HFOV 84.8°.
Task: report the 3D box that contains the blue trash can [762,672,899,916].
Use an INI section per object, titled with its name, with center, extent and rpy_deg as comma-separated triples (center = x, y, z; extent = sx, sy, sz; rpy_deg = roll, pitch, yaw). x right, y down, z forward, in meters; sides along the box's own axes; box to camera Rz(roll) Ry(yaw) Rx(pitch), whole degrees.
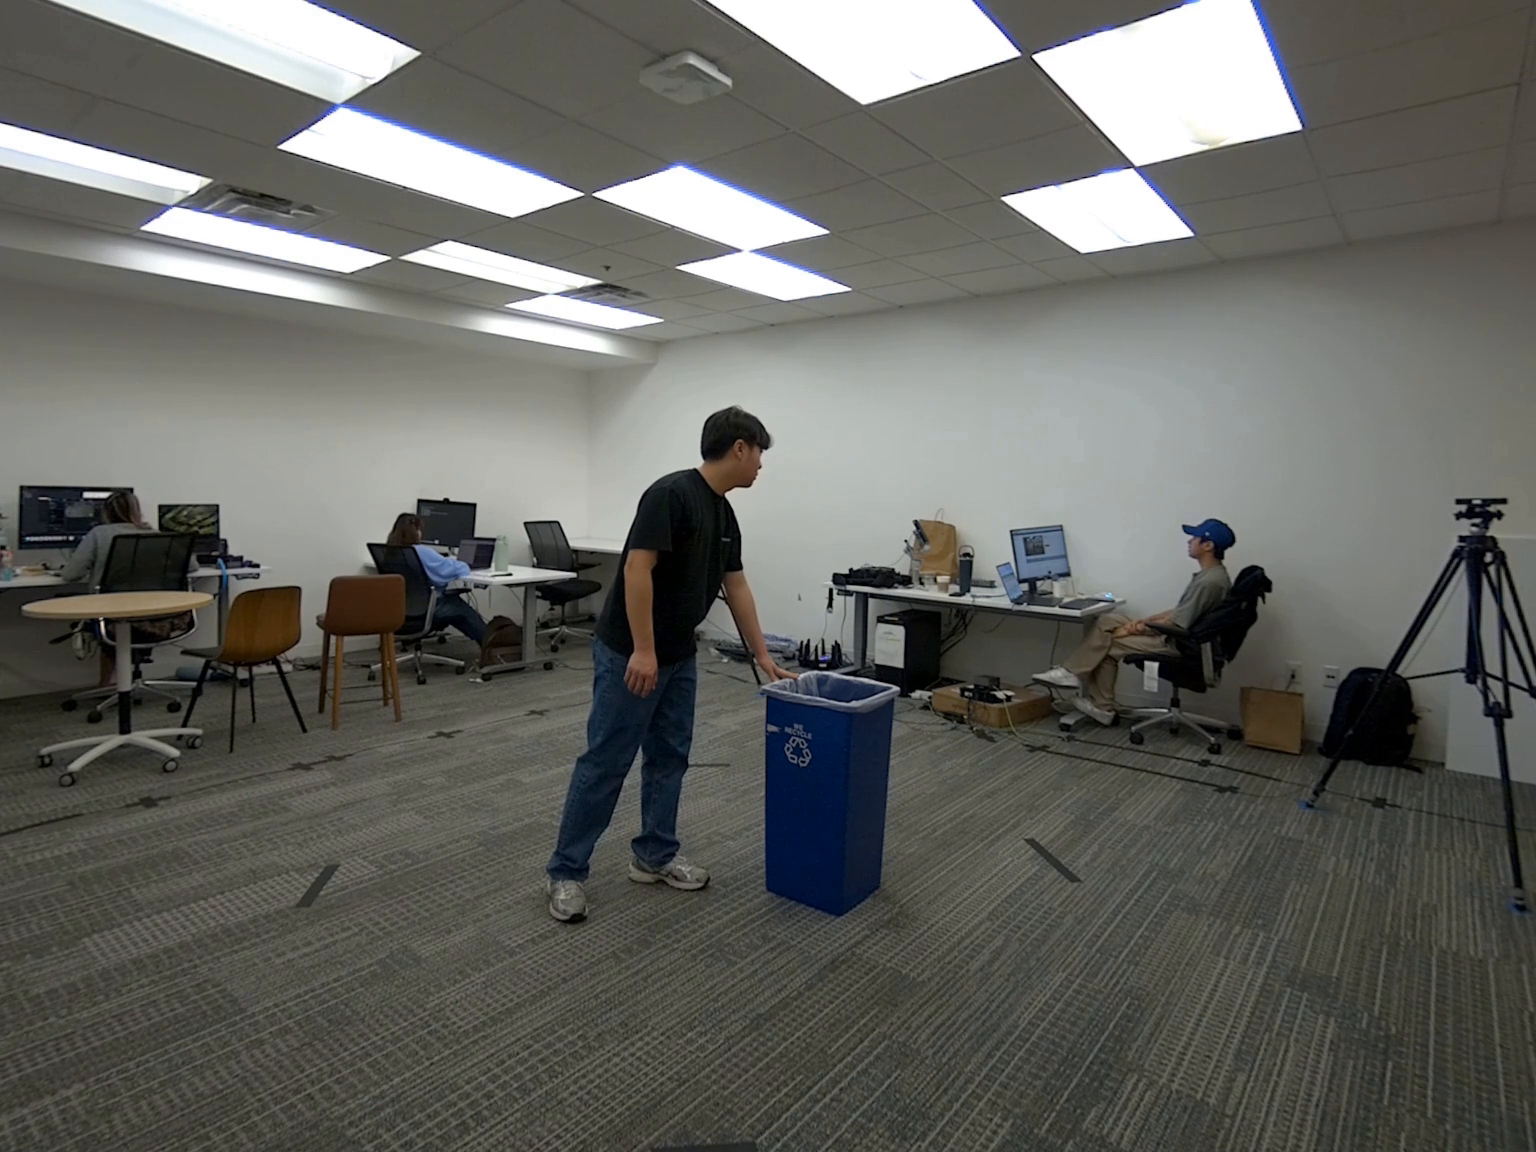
[blue trash can]
center = 0.208, 0.738, 2.962
extent = 0.386, 0.711, 0.367
rpy_deg = 4, 4, 34
